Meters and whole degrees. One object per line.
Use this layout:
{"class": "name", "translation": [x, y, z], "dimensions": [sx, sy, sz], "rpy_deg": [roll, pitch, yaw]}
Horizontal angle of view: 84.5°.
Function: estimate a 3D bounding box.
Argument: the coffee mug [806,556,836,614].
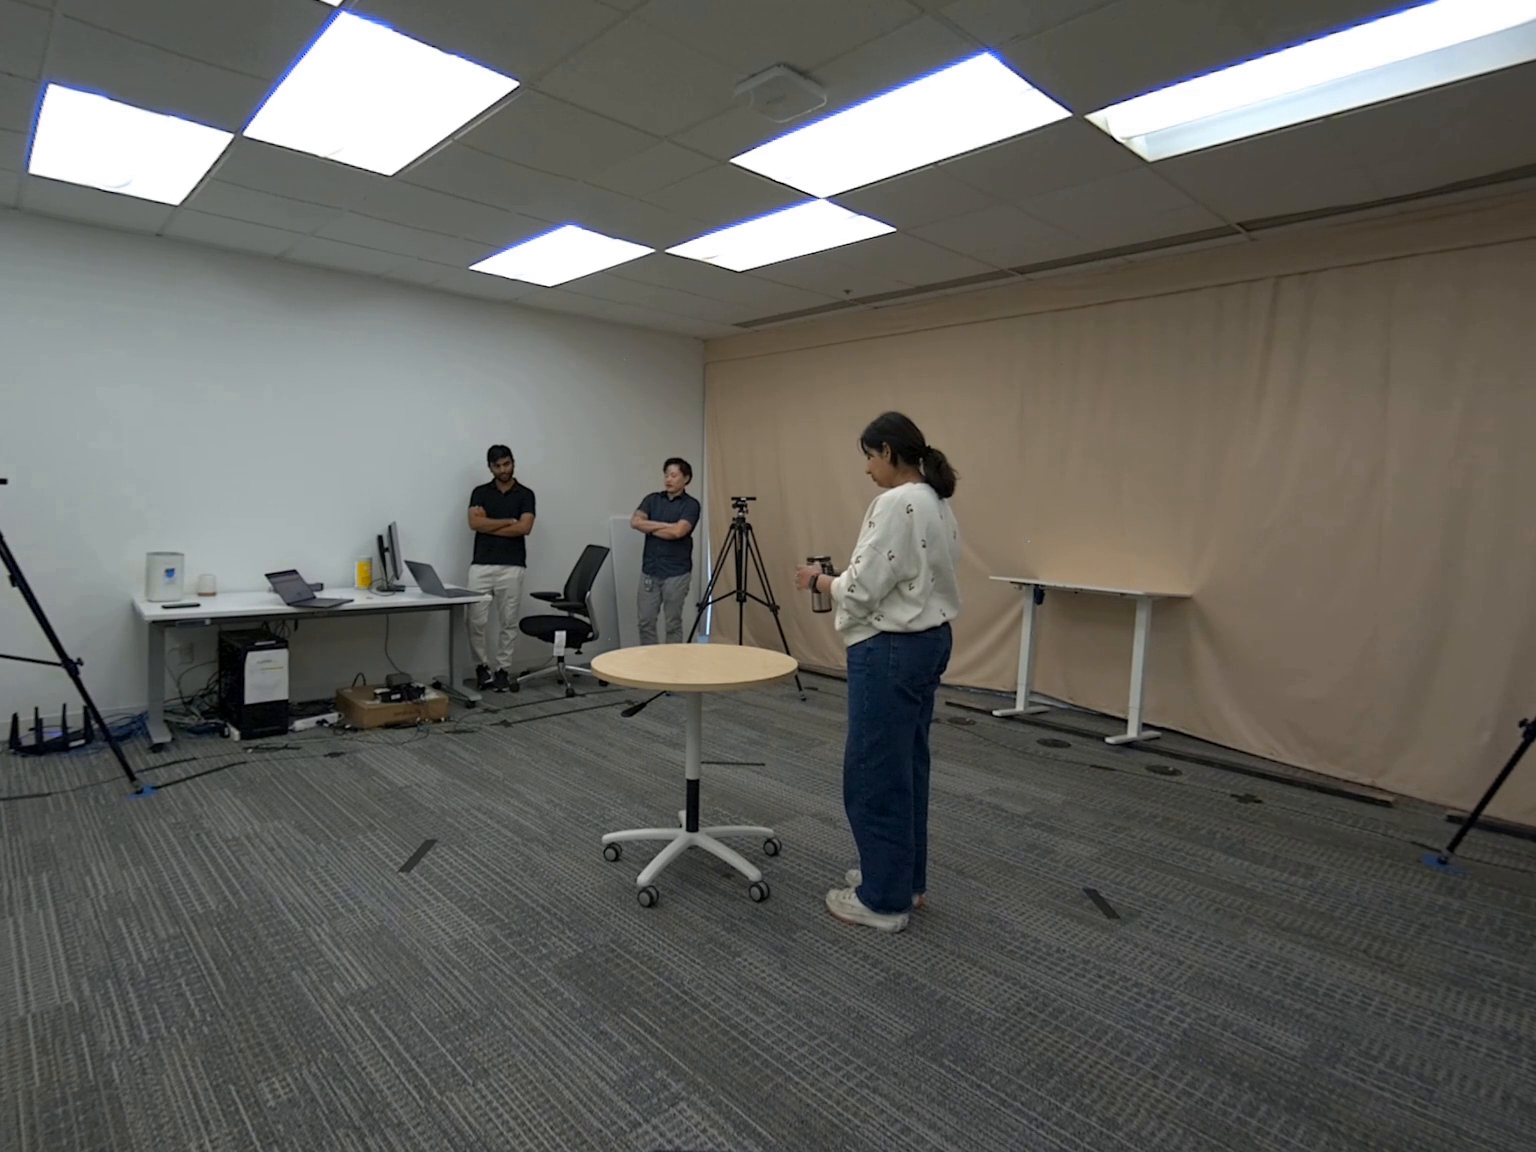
{"class": "coffee mug", "translation": [0.196, 0.035, 3.032], "dimensions": [0.088, 0.202, 0.123], "rpy_deg": [-4, 5, -3]}
